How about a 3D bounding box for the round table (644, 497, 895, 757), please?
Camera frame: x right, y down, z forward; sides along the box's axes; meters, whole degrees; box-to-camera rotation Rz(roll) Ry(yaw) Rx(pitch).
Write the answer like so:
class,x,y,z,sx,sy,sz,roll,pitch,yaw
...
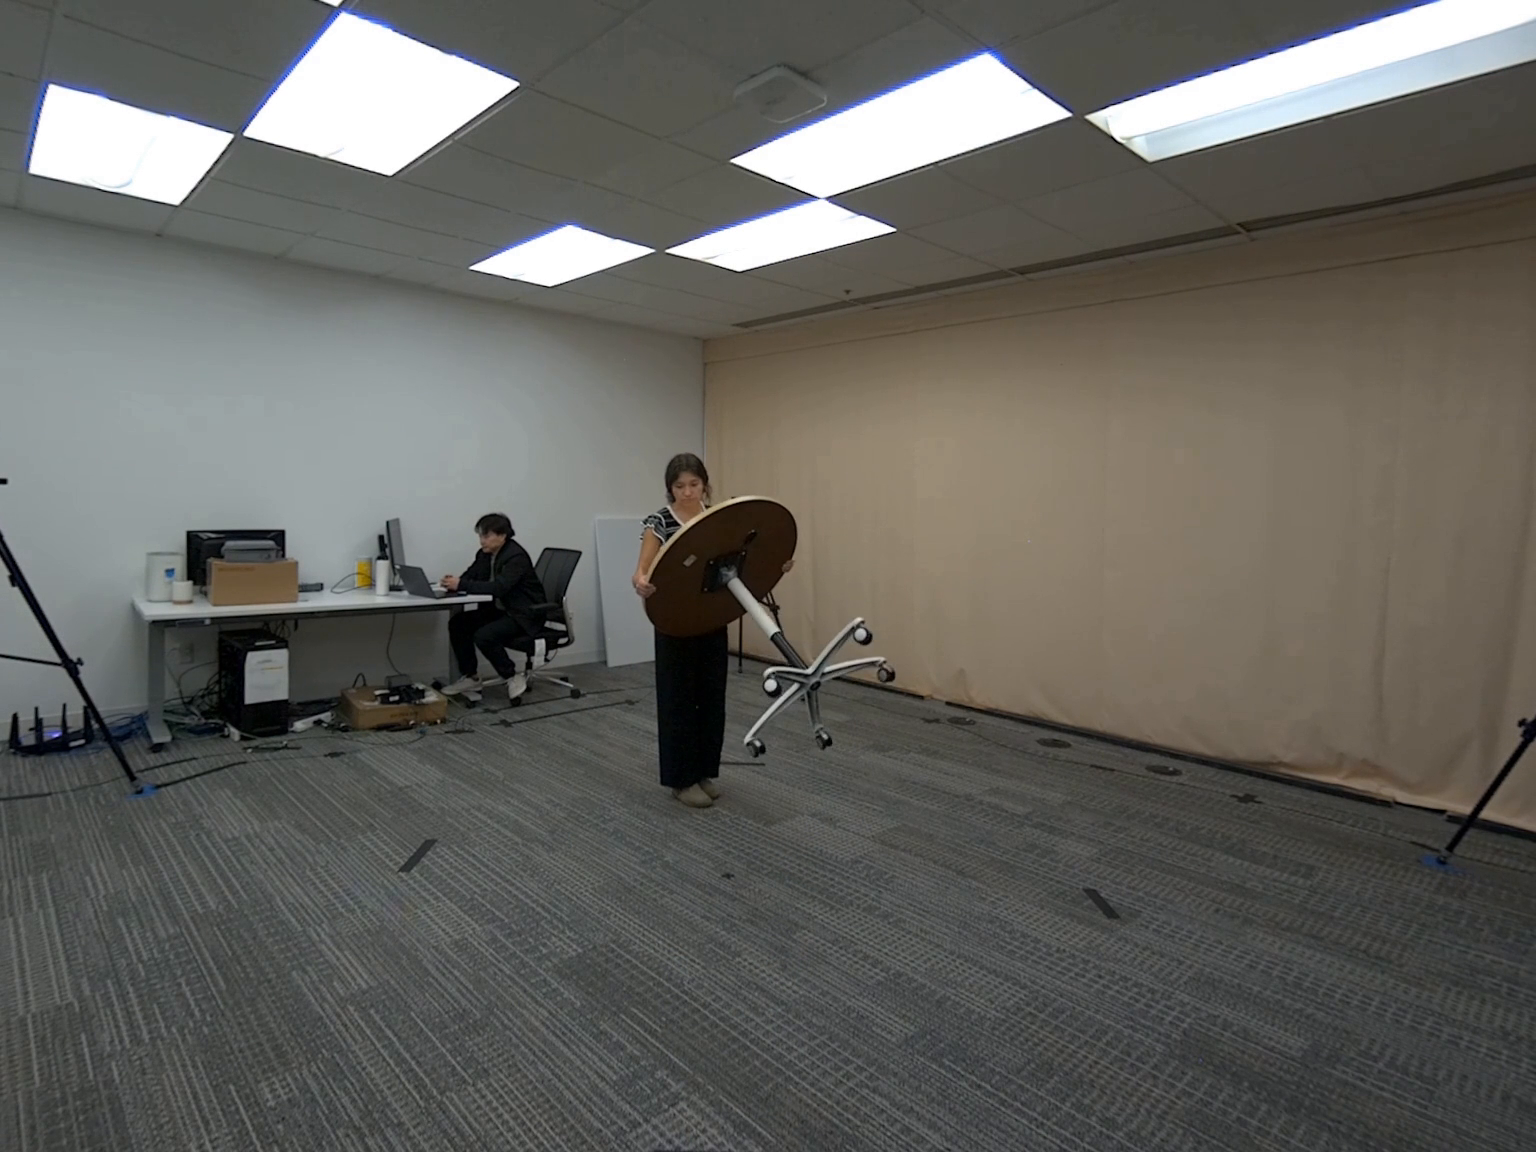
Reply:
class,x,y,z,sx,sy,sz,roll,pitch,yaw
round table,0.002,0.234,3.408,0.746,0.758,0.818,-2,41,-42
